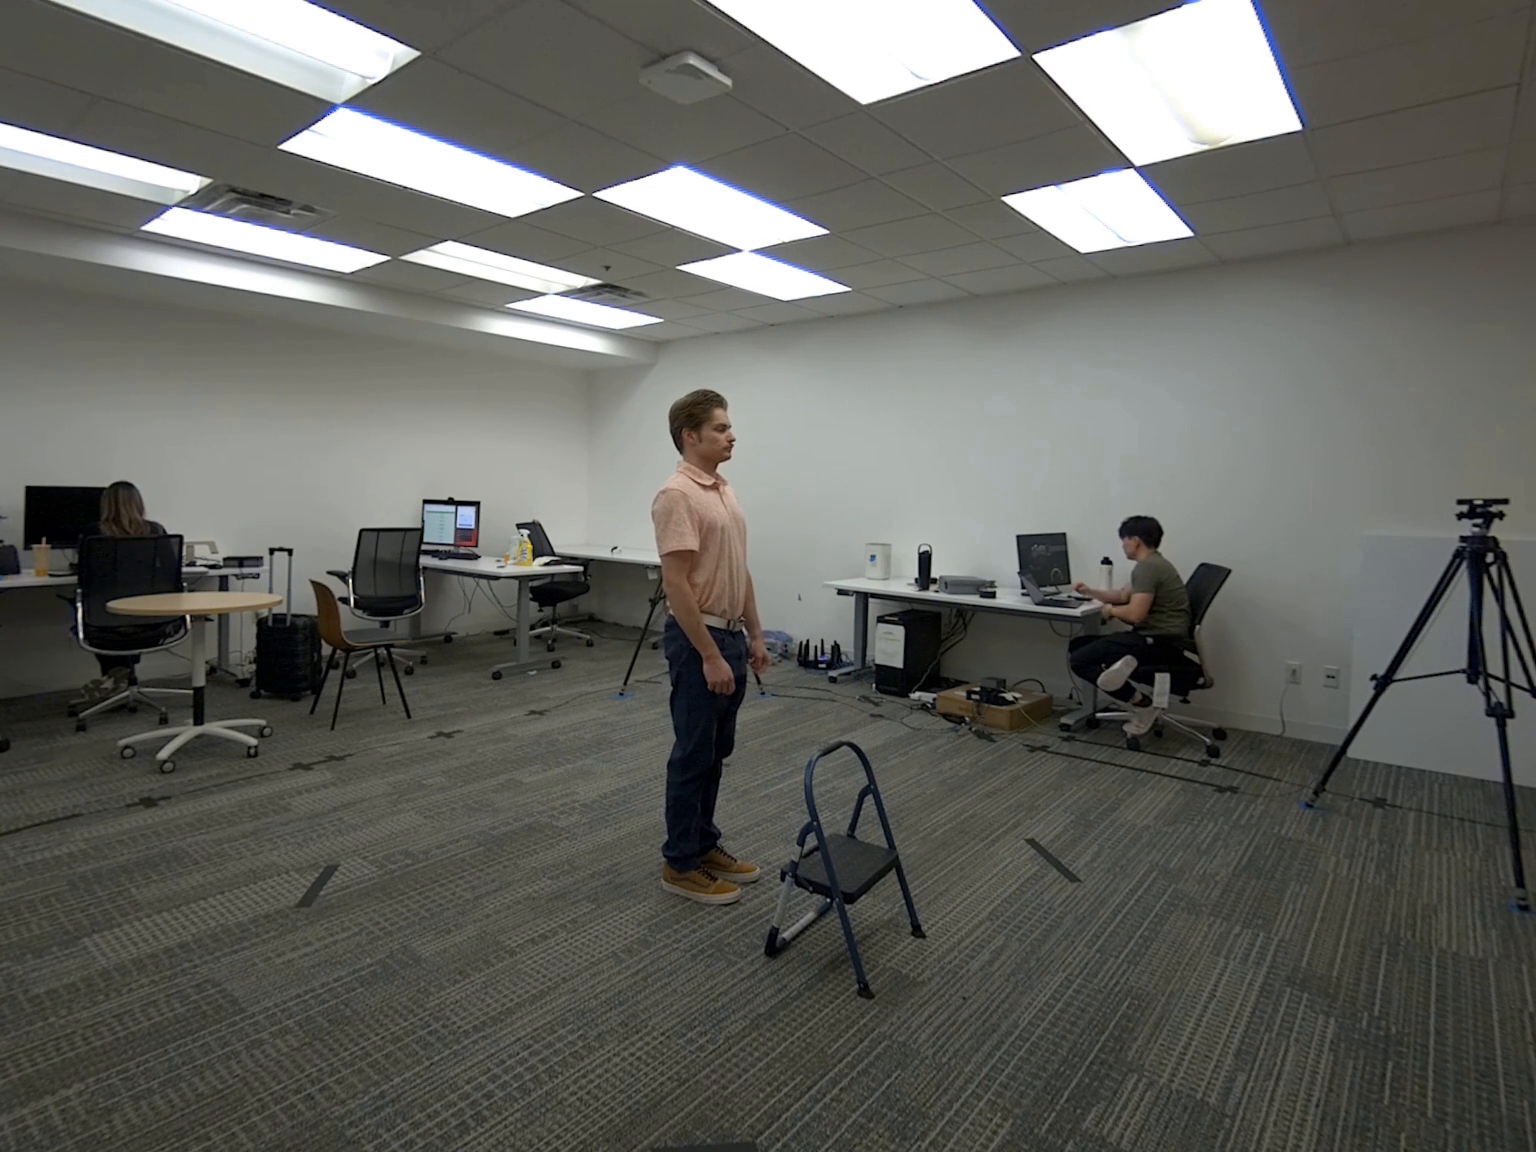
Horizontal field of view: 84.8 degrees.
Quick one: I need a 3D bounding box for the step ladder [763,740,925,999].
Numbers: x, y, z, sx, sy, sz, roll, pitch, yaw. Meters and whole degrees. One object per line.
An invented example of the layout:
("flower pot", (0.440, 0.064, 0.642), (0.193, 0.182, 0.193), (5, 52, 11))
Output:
("step ladder", (0.244, 0.828, 2.589), (0.360, 0.604, 0.419), (4, 4, 32))
